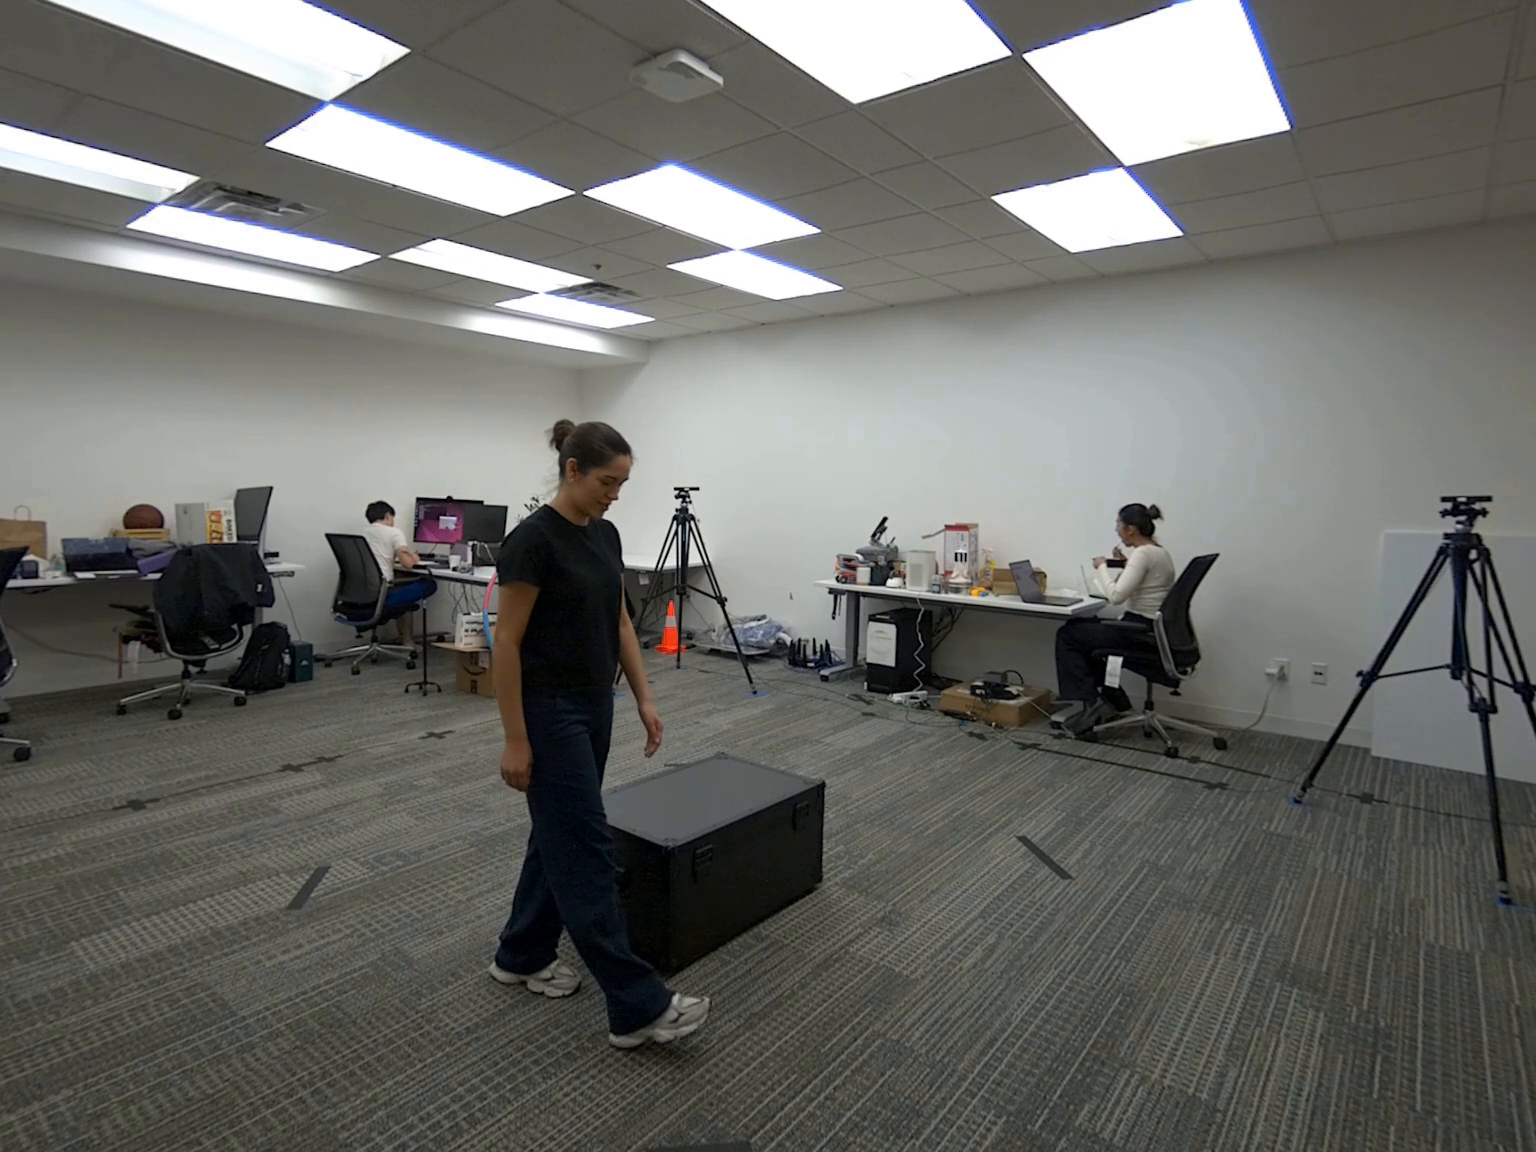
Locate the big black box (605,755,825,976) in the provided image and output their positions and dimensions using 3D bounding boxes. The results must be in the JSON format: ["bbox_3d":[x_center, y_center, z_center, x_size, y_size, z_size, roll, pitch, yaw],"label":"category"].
[{"bbox_3d":[-0.196,0.901,2.864,0.539,0.394,0.837,5,7,39],"label":"big black box"}]
